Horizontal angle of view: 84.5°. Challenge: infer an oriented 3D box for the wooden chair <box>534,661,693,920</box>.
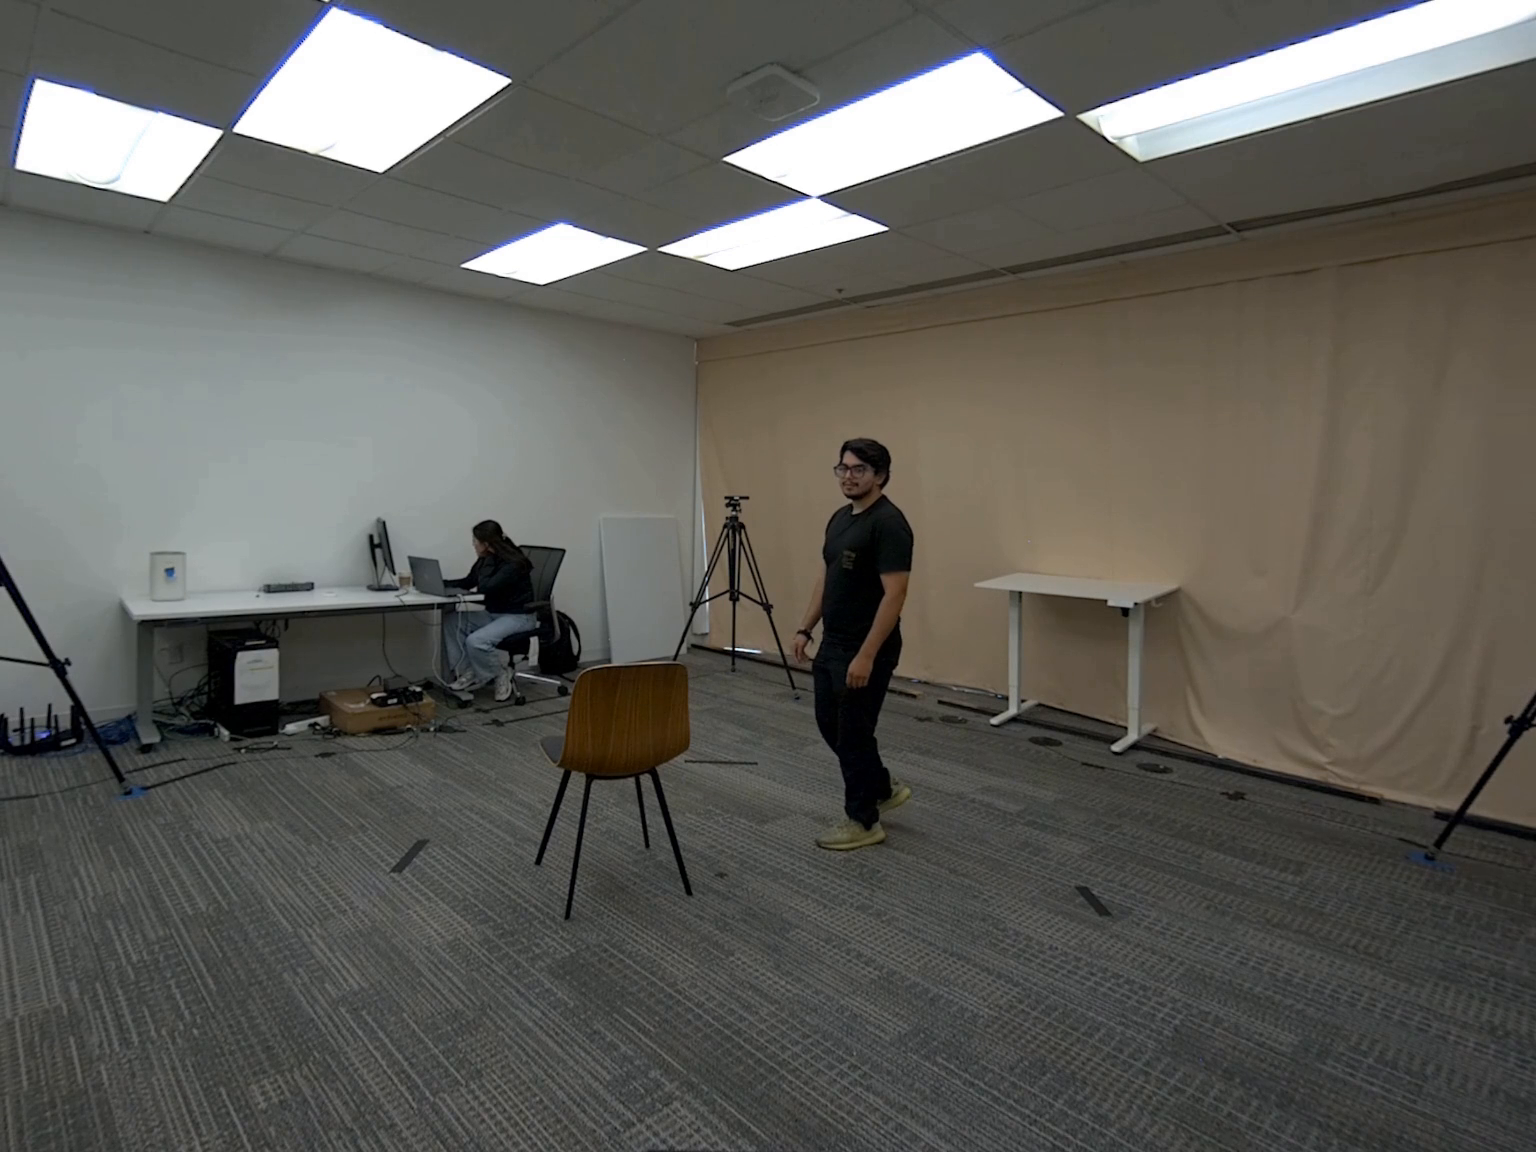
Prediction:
[{"bbox_3d":[-0.563,0.676,3.018,0.469,0.873,0.536,-1,8,-27],"label":"wooden chair"}]
